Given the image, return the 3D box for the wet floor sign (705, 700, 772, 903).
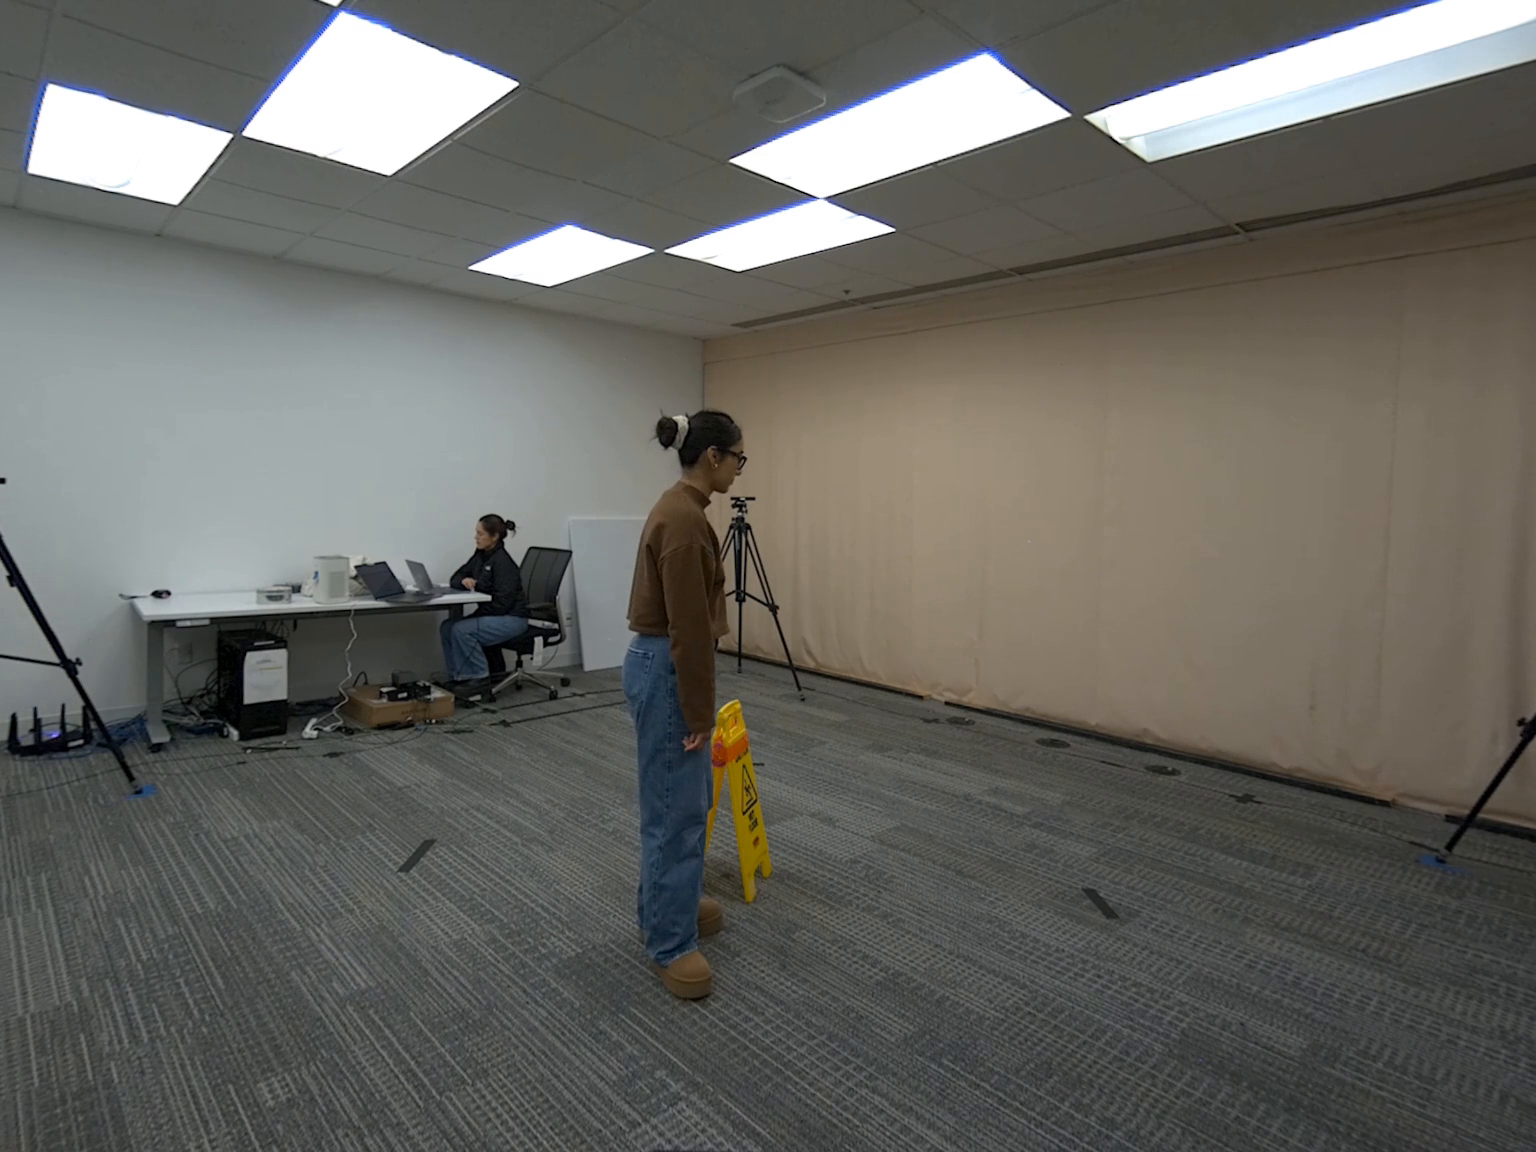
[{"bbox_3d":[-0.149,0.790,3.043,0.294,0.644,0.279,3,5,17],"label":"wet floor sign"}]
